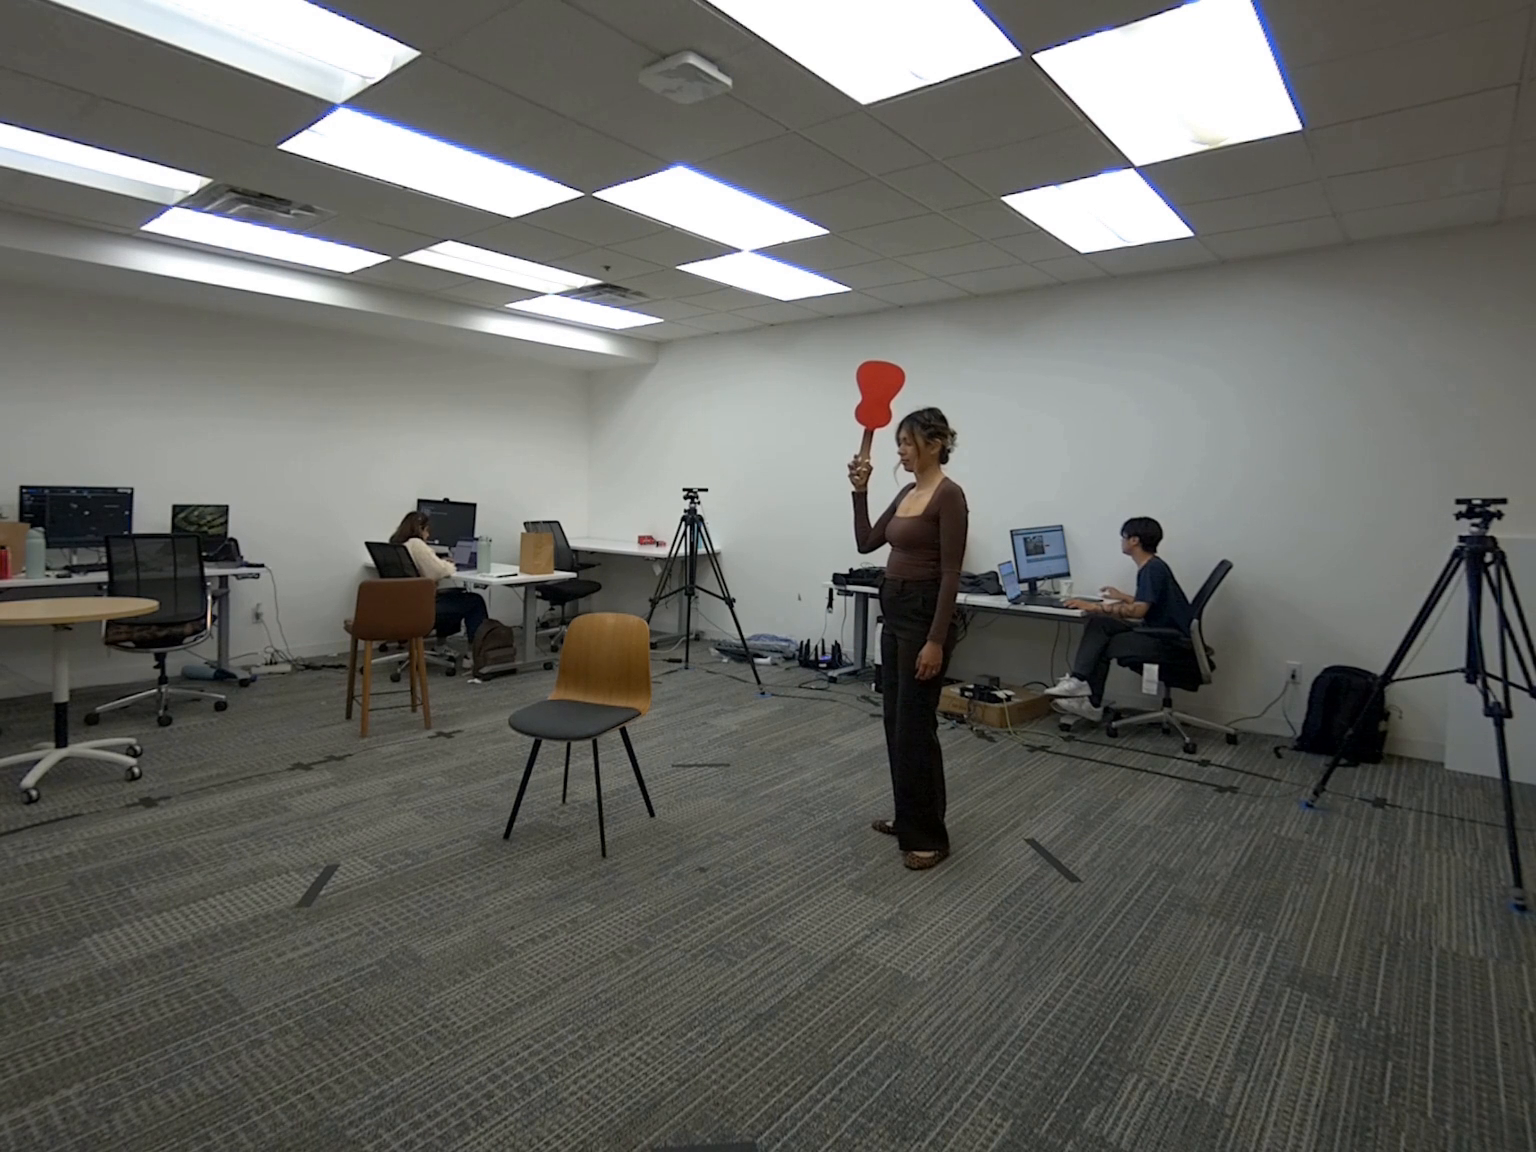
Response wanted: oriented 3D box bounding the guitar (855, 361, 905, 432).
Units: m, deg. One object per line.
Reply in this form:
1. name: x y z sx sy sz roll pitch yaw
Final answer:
1. guitar: 0.439 -0.621 3.456 0.194 0.495 0.071 1 5 4
